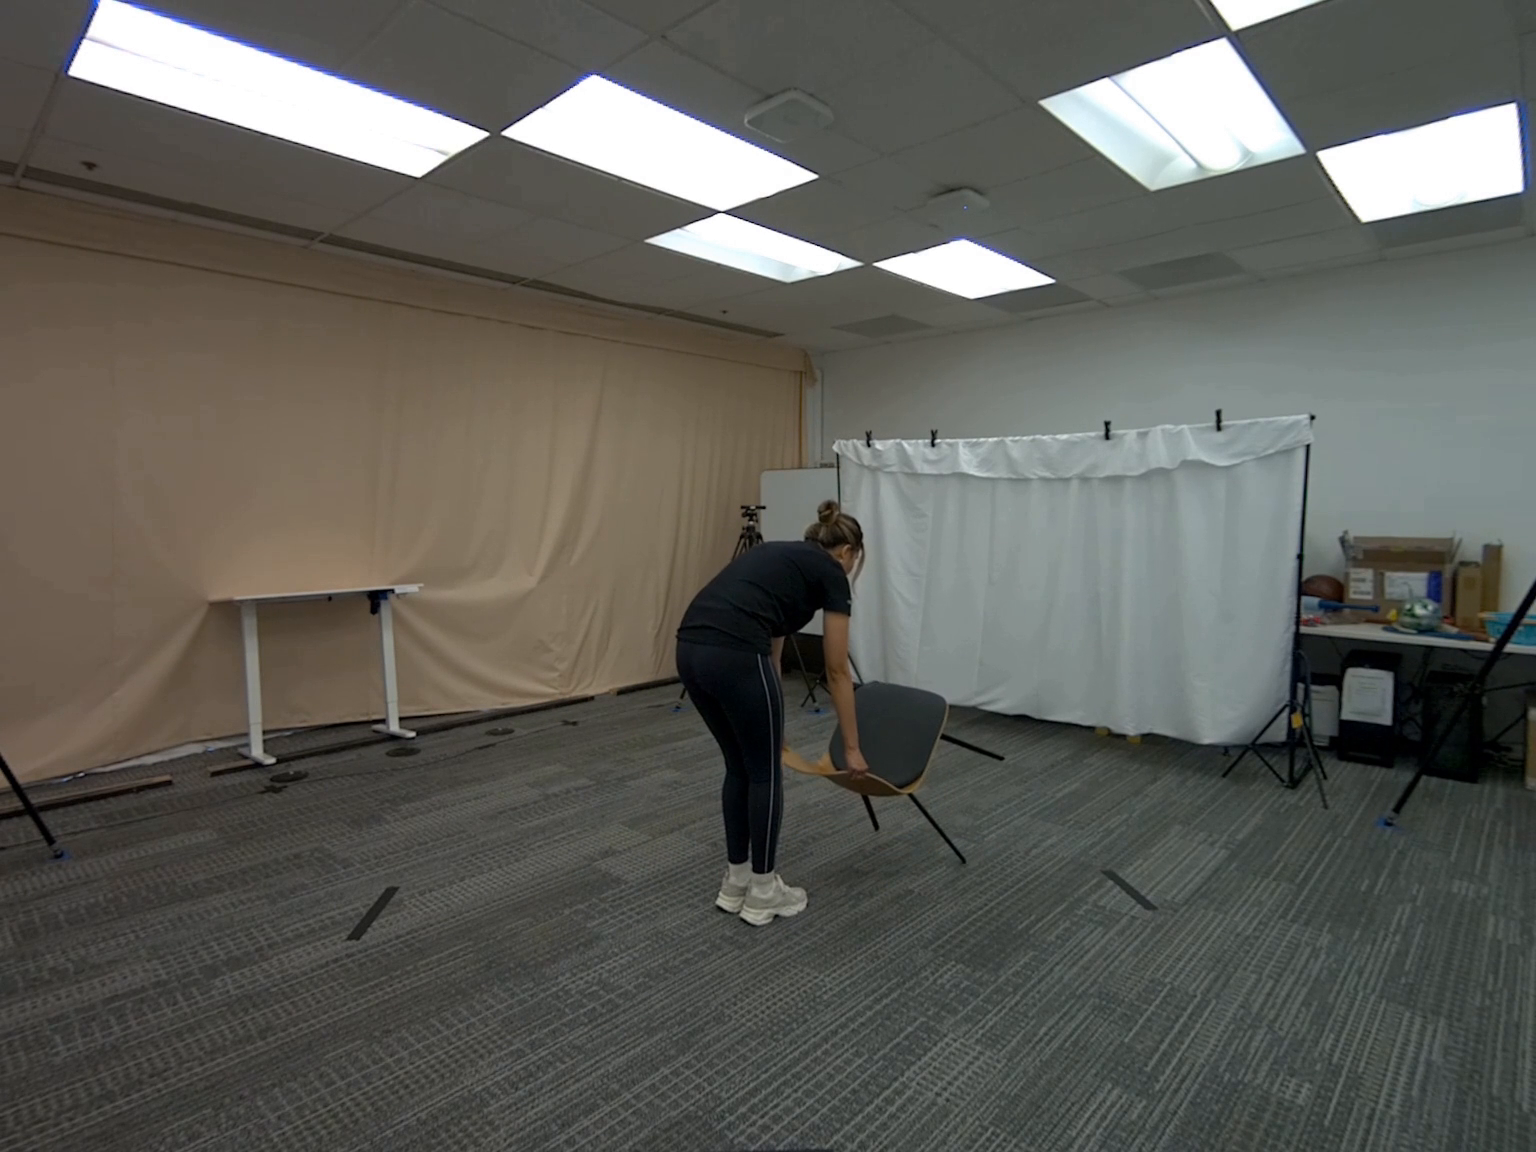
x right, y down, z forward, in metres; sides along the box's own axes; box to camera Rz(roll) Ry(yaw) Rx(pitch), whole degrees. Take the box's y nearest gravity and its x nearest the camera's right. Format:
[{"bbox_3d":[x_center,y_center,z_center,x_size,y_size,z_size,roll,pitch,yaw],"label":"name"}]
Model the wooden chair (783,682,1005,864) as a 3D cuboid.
[{"bbox_3d":[0.464,0.672,3.292,0.494,0.524,0.847,5,-26,49],"label":"wooden chair"}]
